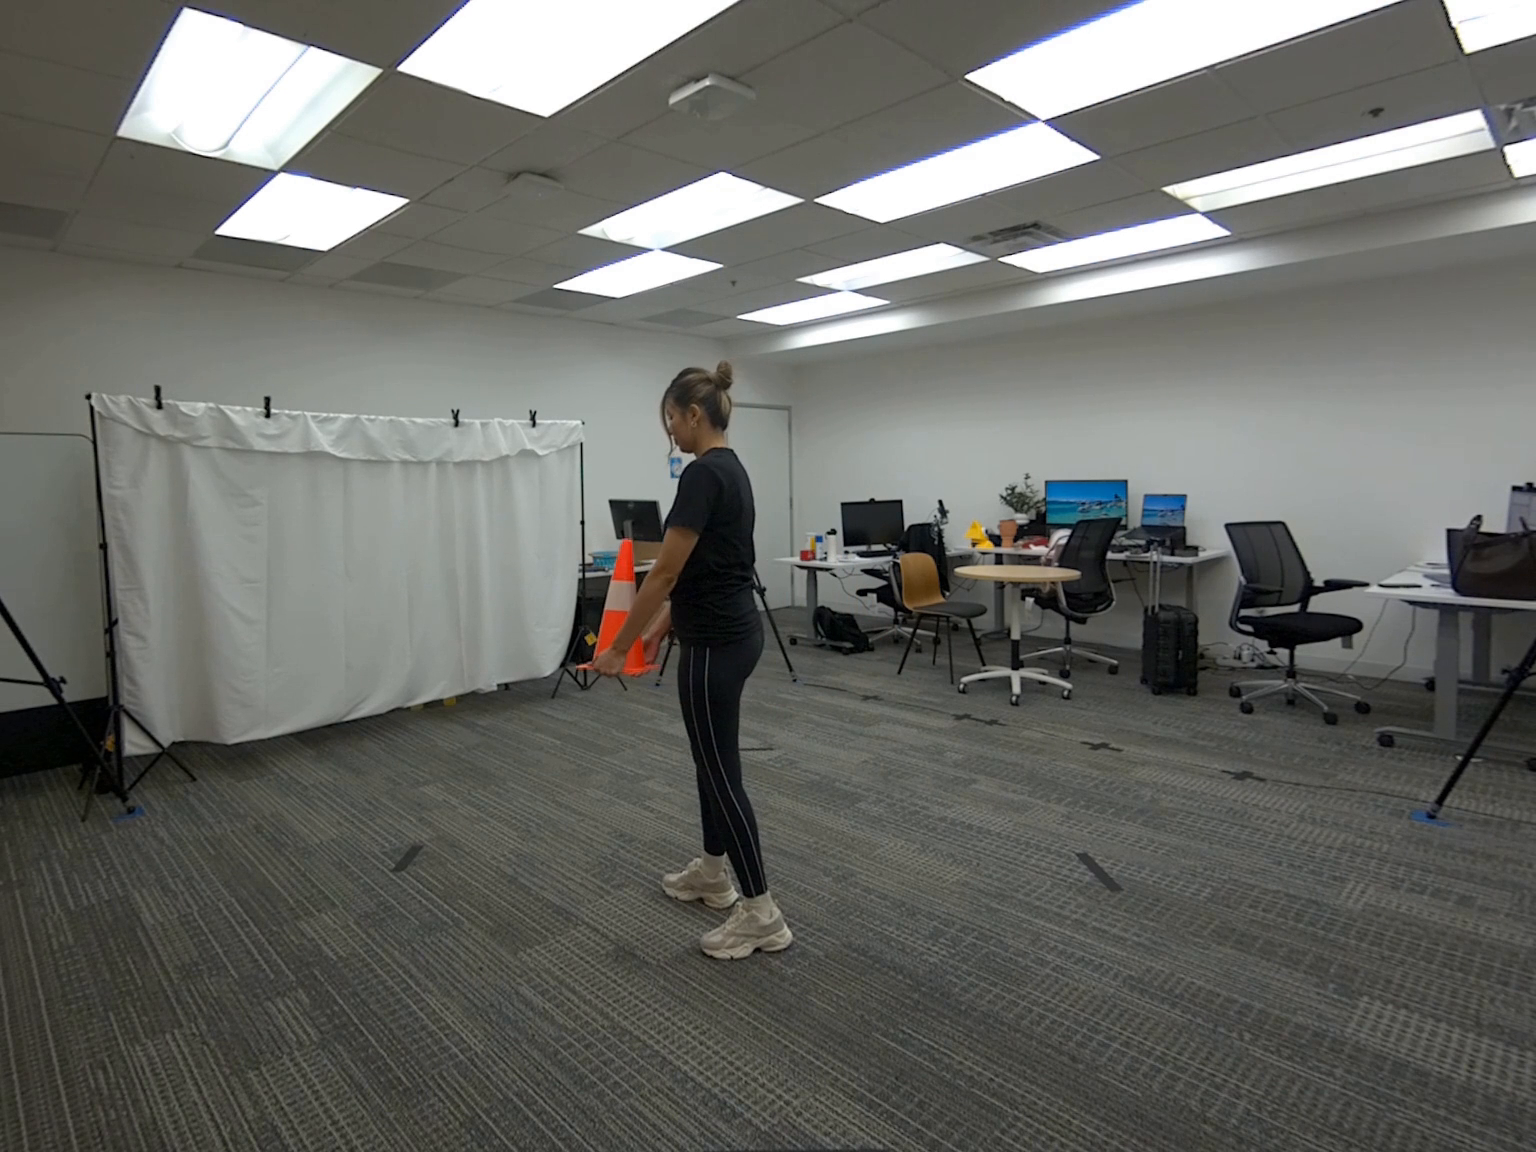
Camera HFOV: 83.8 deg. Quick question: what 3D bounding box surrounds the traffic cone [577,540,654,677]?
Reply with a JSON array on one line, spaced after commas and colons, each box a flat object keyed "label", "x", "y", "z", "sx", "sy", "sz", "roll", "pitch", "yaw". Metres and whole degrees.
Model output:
[{"label": "traffic cone", "x": -0.423, "y": 0.084, "z": 2.553, "sx": 0.208, "sy": 0.385, "sz": 0.199, "roll": 1, "pitch": -3, "yaw": 16}]
